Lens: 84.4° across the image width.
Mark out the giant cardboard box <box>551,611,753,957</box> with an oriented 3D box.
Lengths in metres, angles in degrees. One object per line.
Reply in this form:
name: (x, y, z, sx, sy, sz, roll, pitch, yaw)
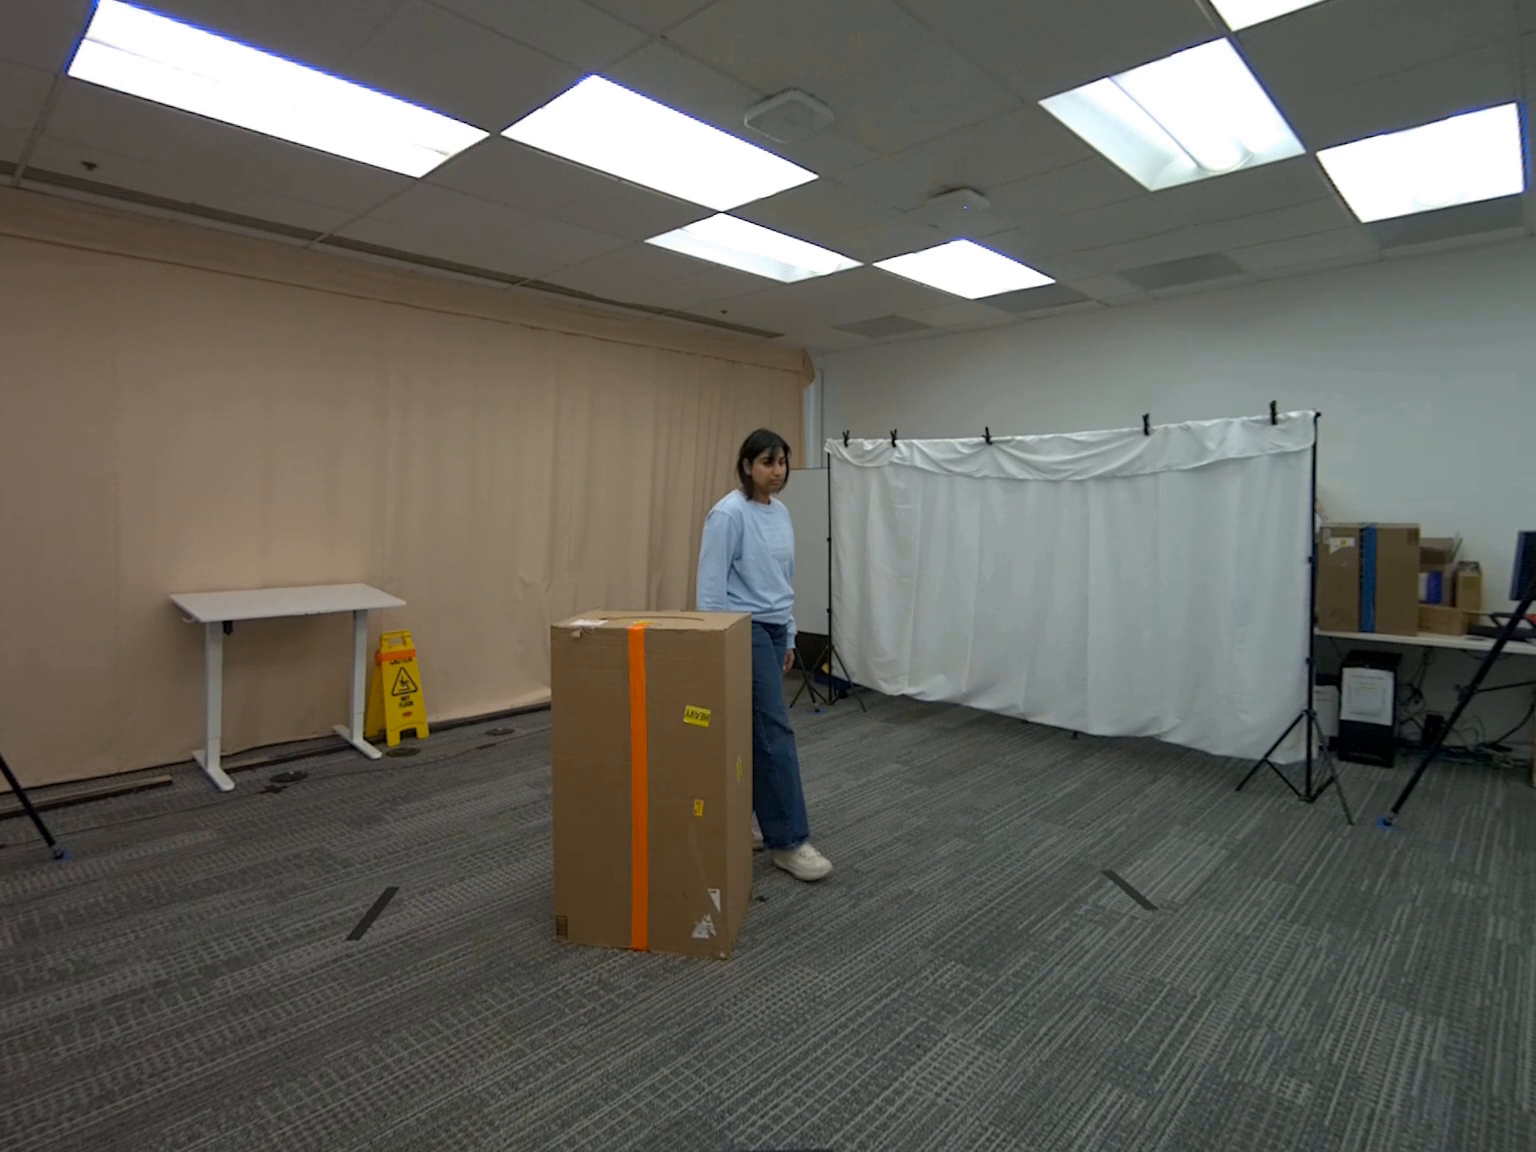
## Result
giant cardboard box: (-0.371, 0.651, 2.820, 0.585, 1.024, 0.421, 0, 3, 11)
